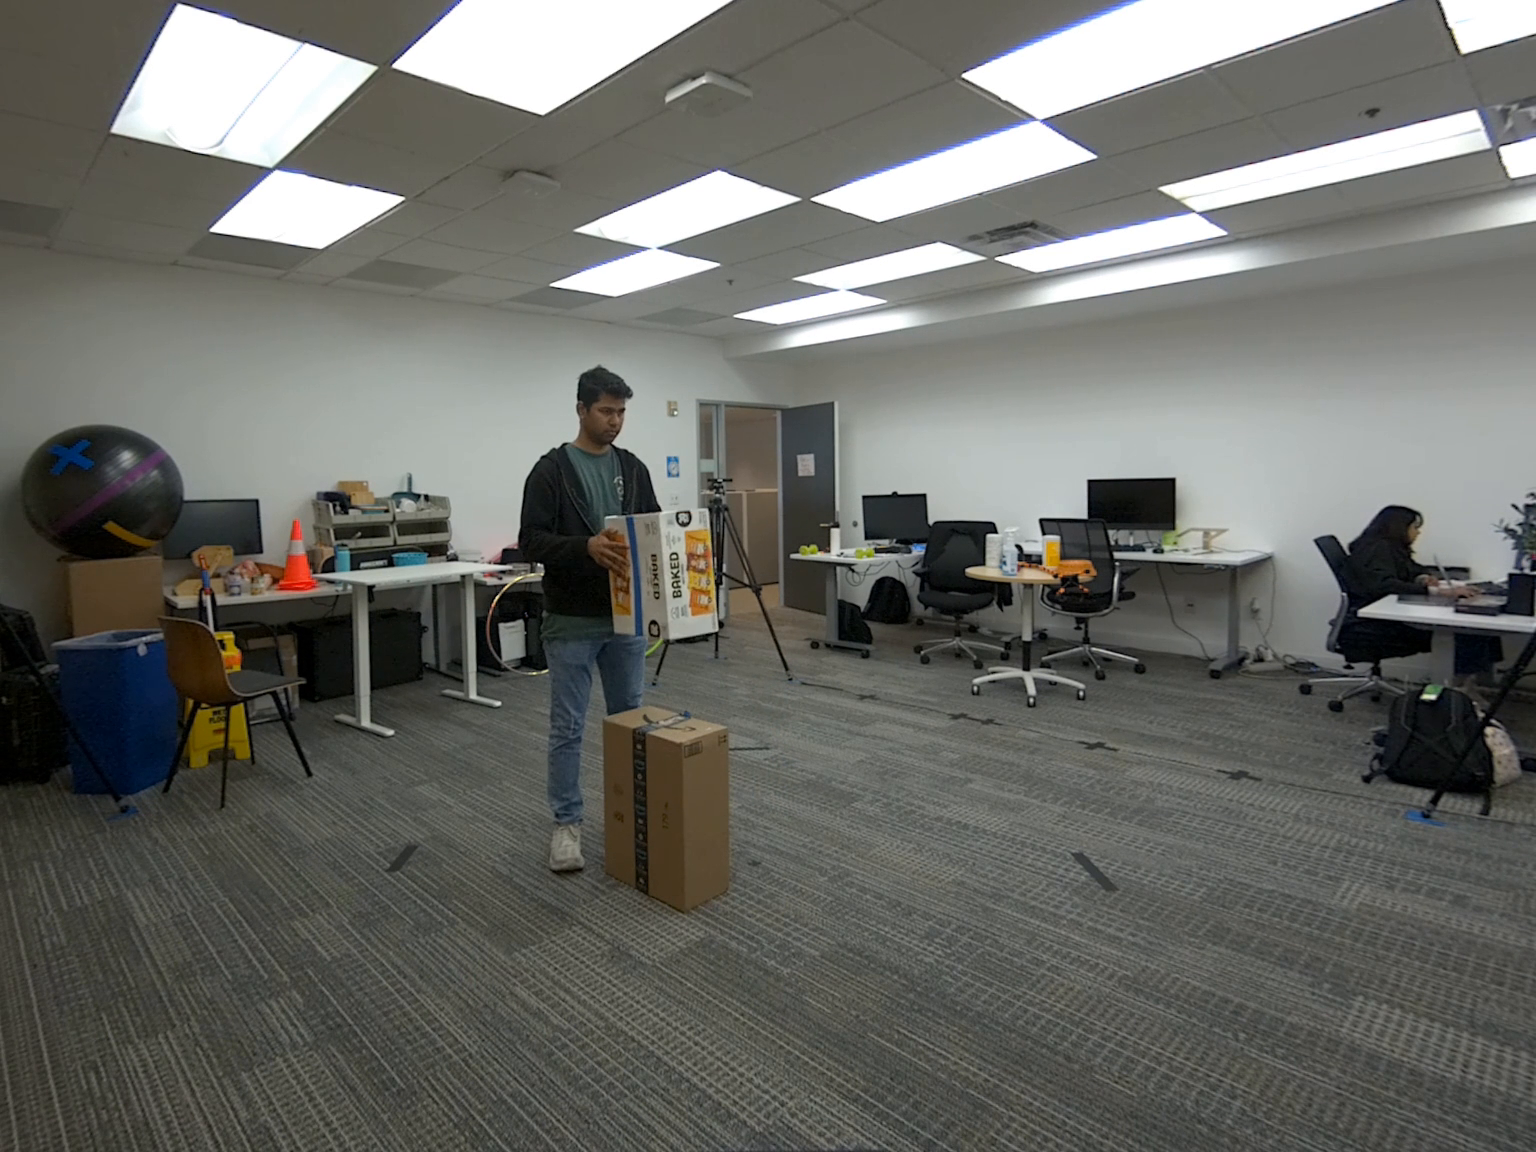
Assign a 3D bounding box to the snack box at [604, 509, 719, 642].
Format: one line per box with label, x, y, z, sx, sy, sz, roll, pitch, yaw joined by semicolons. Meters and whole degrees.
snack box;-0.362;-0.010;2.884;0.200;0.404;0.349;-6;3;-39
